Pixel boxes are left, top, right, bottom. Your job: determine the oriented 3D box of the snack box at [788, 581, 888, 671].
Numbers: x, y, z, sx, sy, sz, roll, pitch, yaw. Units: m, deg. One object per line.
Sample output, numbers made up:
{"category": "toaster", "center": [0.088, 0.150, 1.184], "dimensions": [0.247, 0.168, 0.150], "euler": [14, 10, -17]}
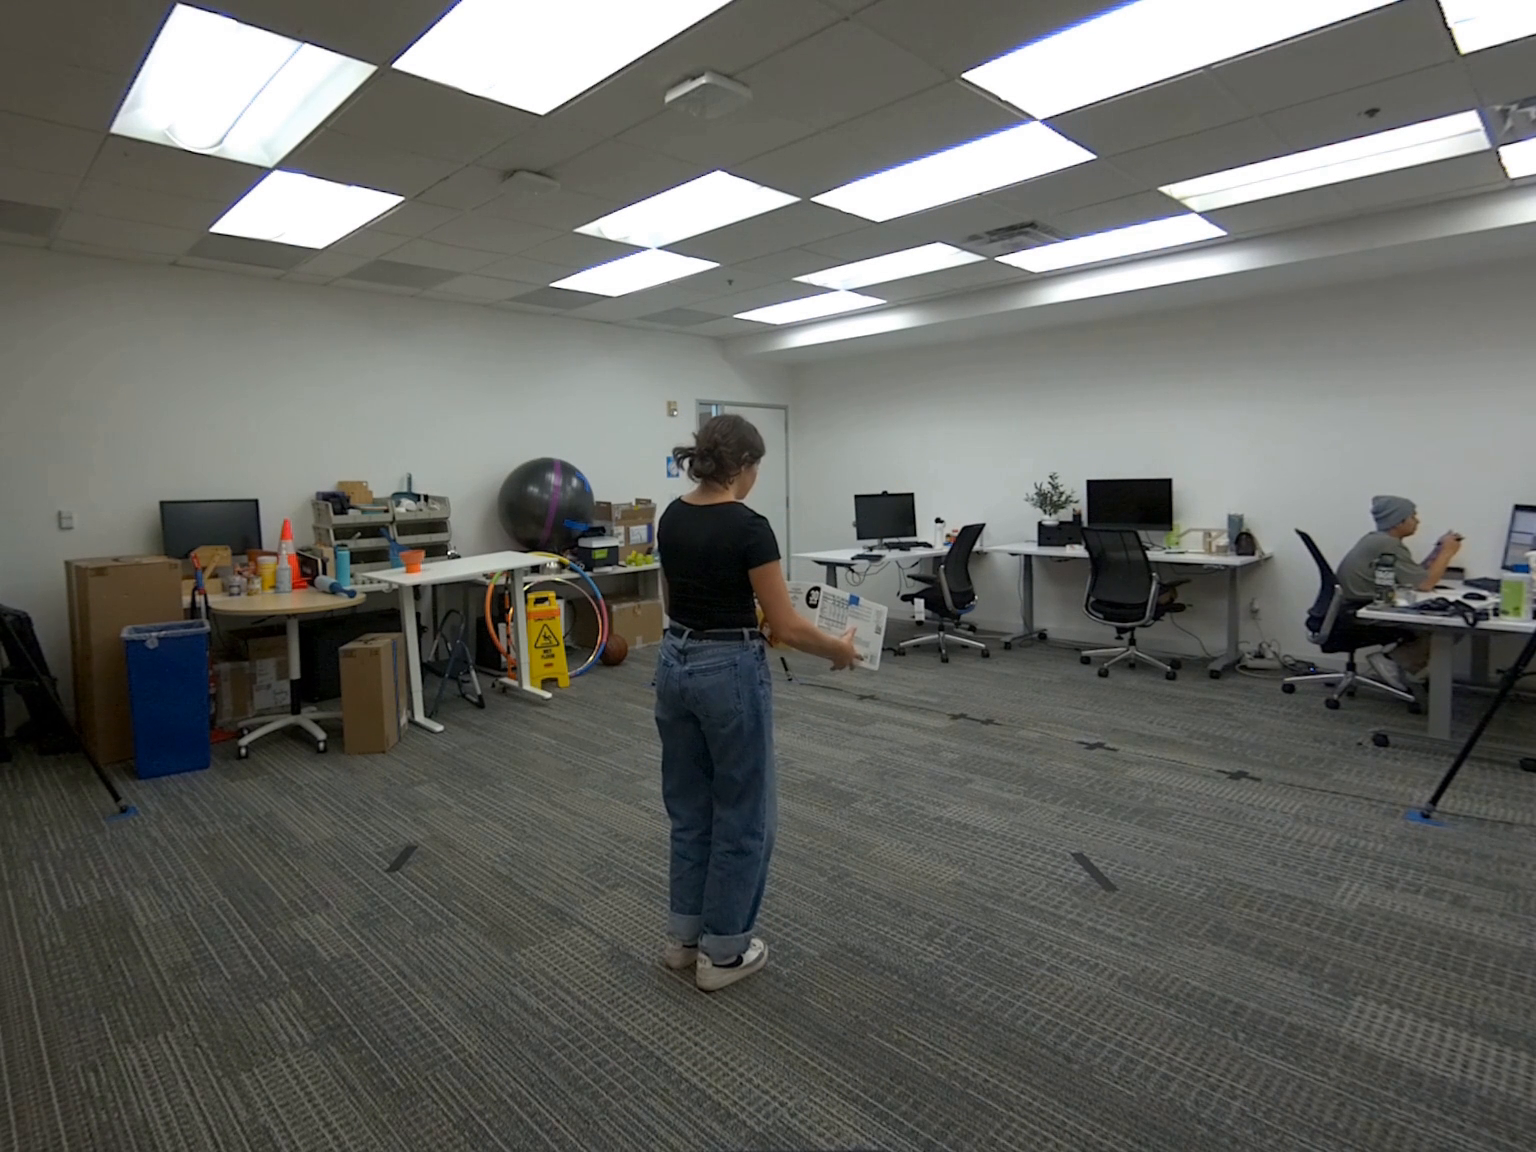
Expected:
{"category": "snack box", "center": [0.099, 0.149, 2.659], "dimensions": [0.417, 0.207, 0.328], "euler": [3, -12, 44]}
